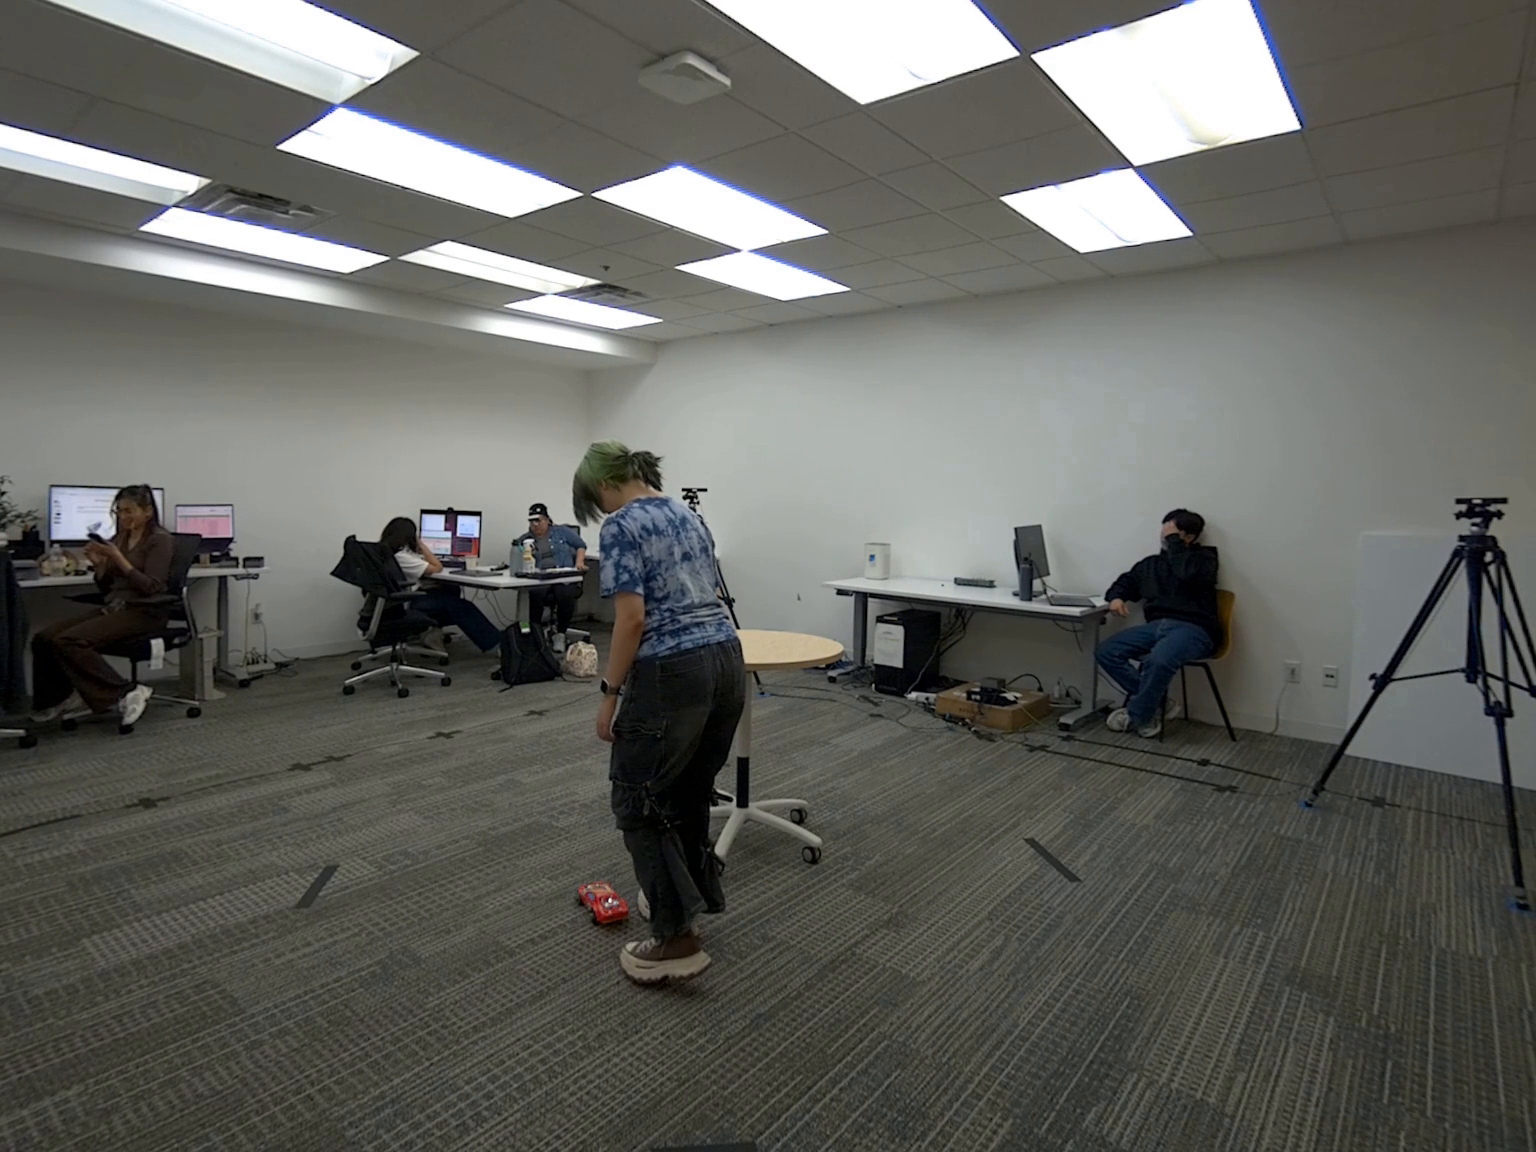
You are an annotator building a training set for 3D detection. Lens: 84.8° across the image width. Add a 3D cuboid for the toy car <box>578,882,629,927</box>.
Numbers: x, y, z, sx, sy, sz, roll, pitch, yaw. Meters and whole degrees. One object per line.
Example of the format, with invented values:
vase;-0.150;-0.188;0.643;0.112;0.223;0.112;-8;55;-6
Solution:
toy car;-0.552;1.069;2.769;0.127;0.084;0.260;-3;-4;-30
